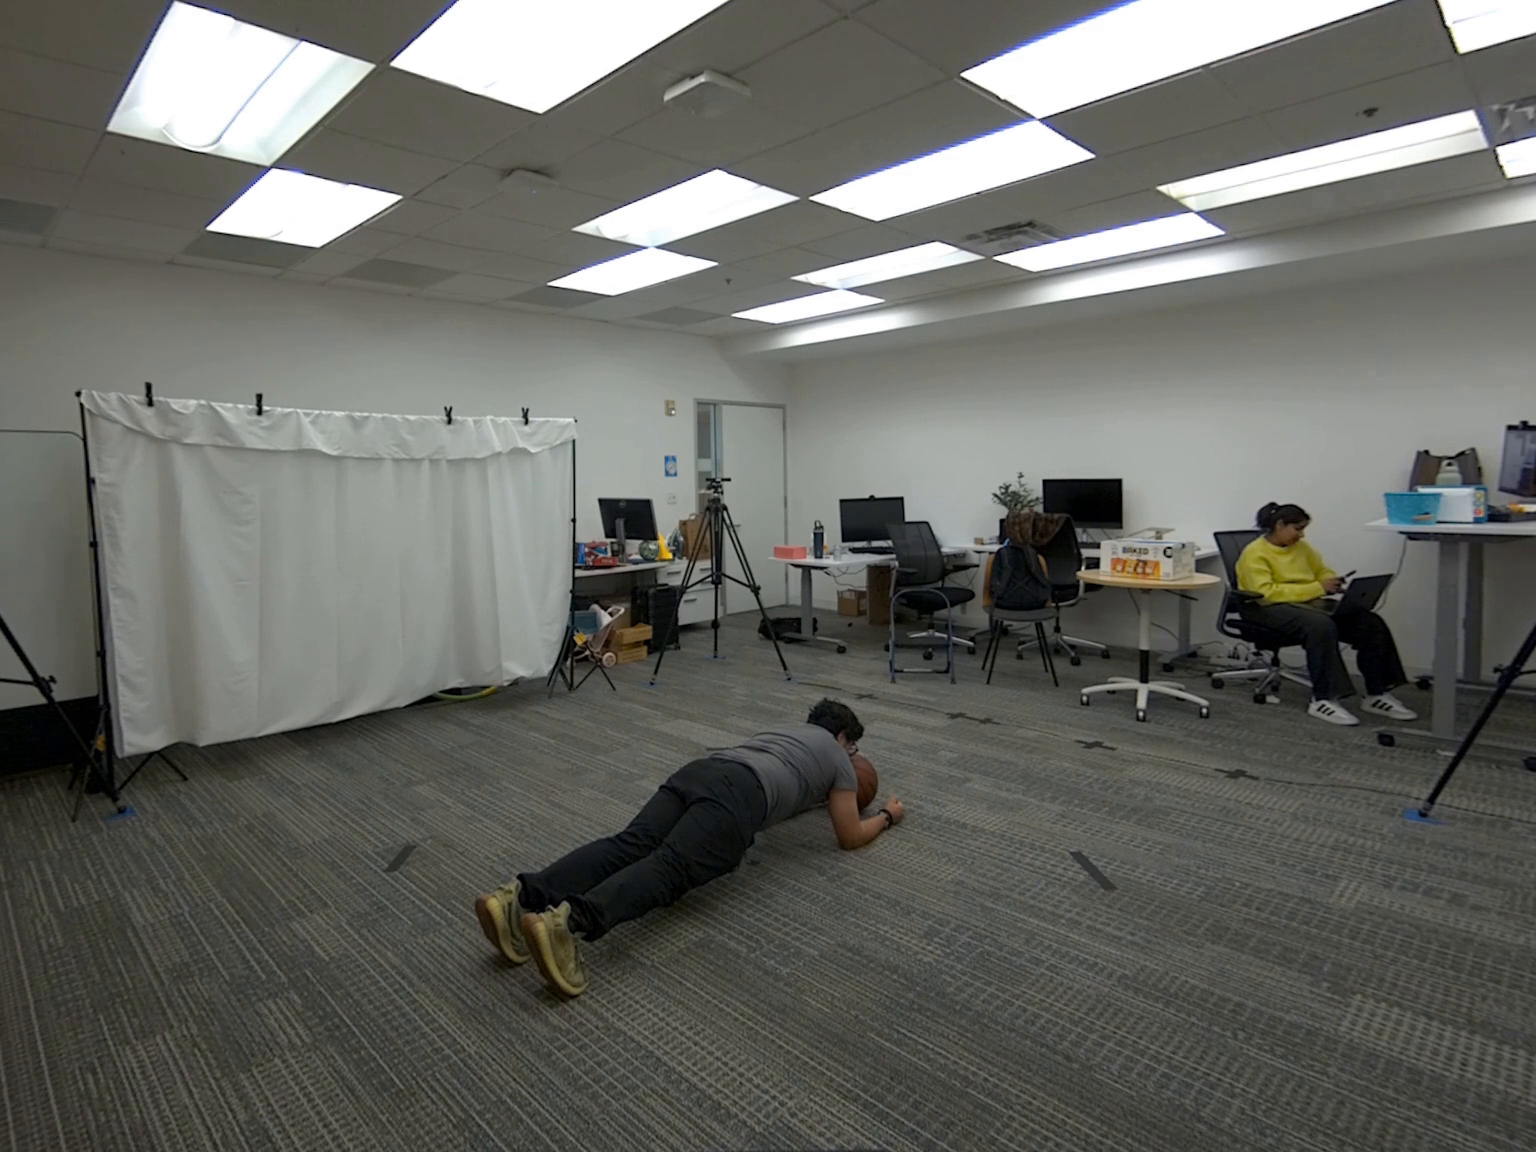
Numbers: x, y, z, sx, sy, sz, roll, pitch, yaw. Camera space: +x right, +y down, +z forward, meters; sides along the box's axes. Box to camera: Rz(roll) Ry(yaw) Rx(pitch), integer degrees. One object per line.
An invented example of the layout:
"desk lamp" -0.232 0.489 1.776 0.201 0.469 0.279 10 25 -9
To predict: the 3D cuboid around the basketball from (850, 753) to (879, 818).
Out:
"basketball" 0.342 0.863 3.582 0.236 0.235 0.237 -1 5 -2
